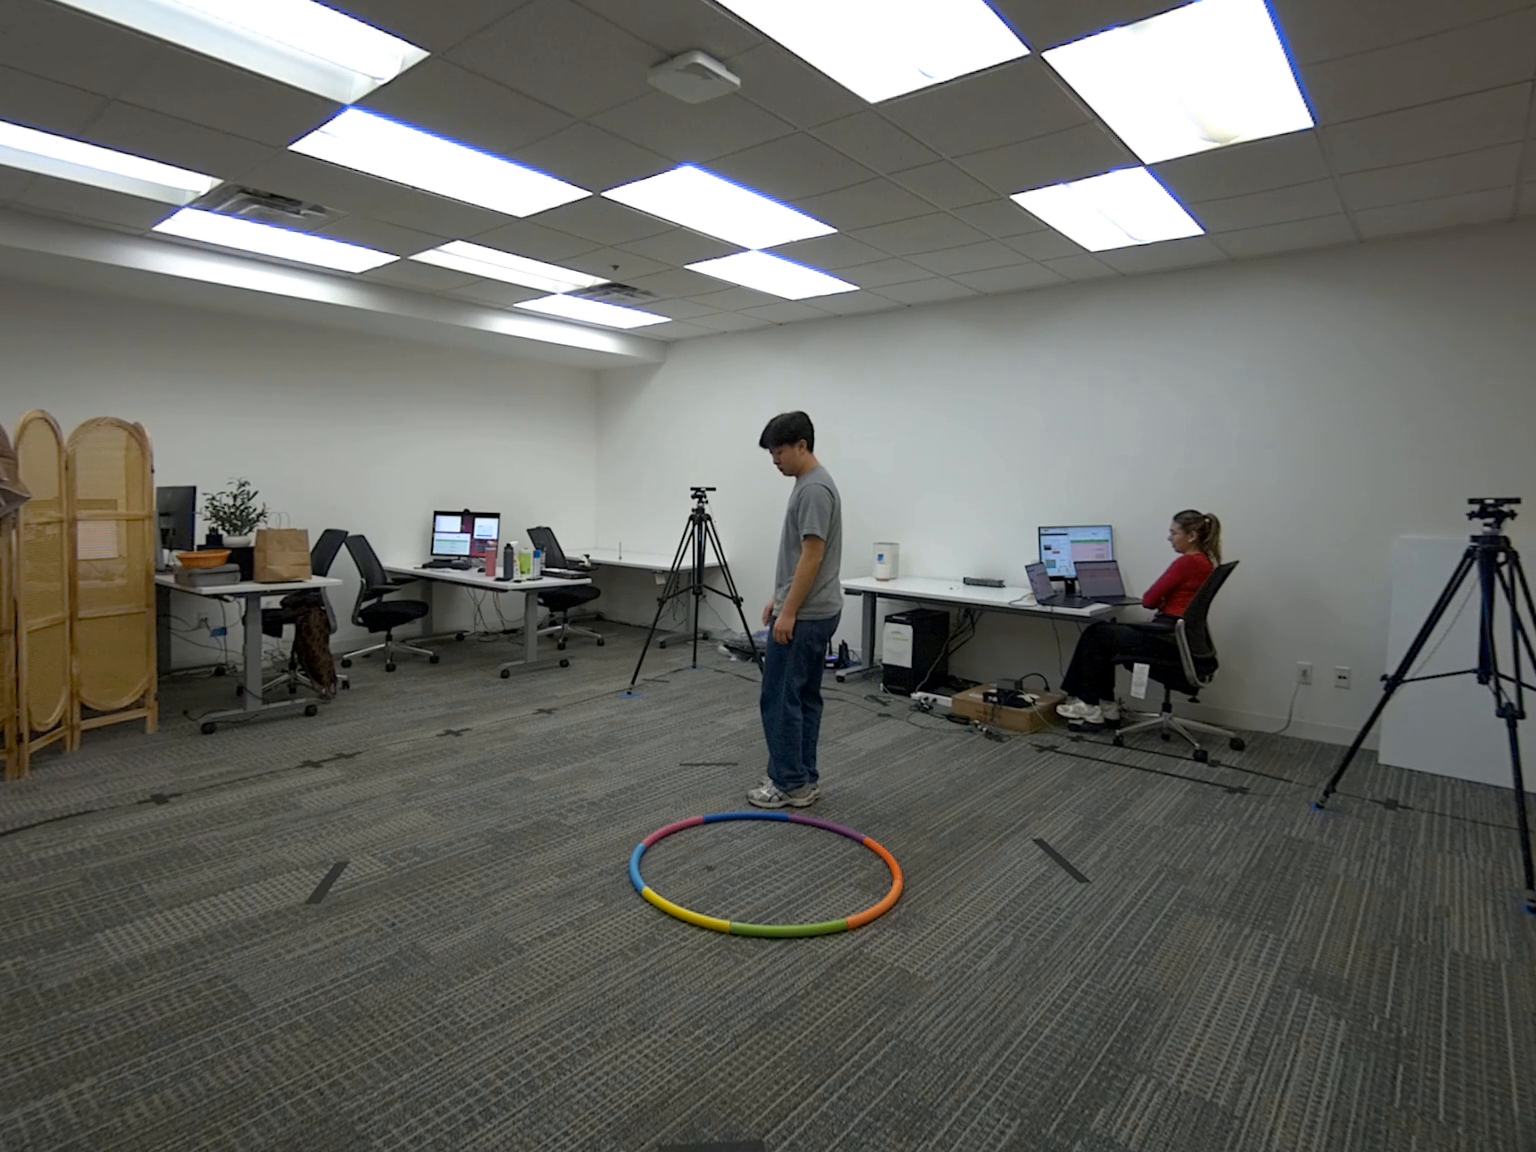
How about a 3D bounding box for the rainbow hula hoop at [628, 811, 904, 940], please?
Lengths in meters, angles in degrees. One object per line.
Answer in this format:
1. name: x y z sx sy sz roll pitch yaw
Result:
1. rainbow hula hoop: -0.019 1.036 3.107 0.978 0.035 0.984 1 5 -2
